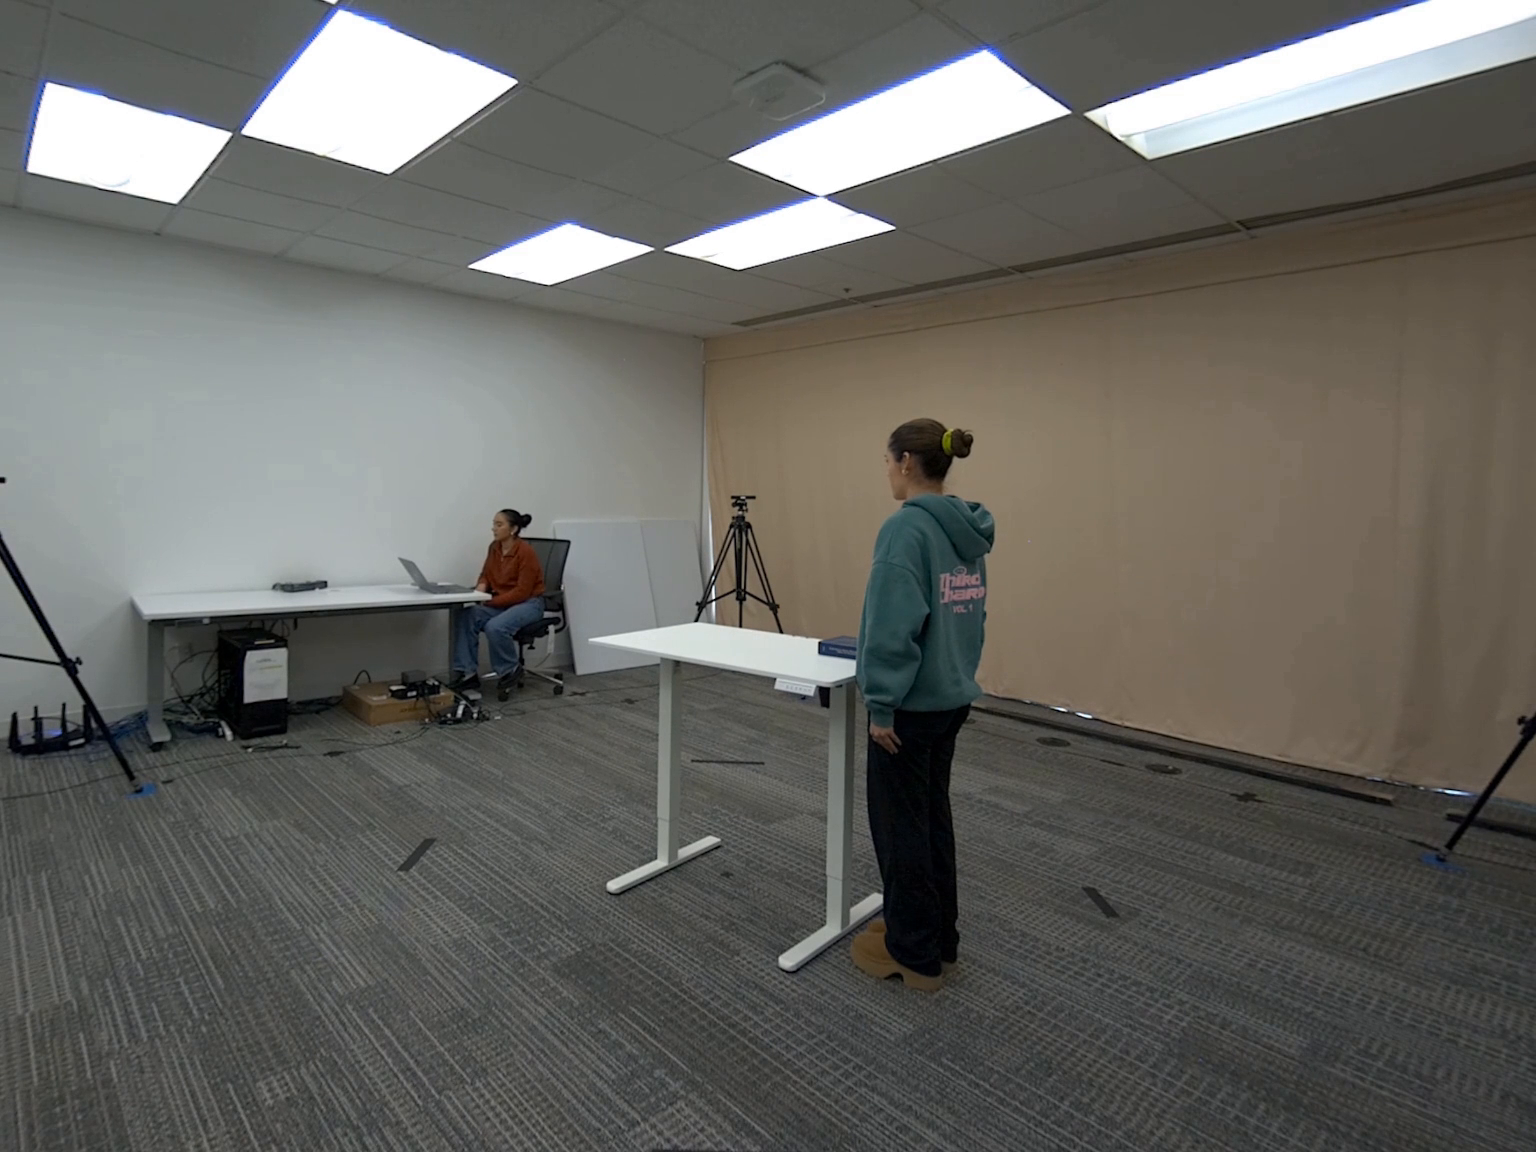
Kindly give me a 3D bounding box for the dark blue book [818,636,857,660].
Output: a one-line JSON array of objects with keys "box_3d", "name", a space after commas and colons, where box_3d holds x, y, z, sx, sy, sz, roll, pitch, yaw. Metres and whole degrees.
[{"box_3d": [0.307, 0.243, 2.745, 0.251, 0.045, 0.160, 5, 7, 34], "name": "dark blue book"}]
